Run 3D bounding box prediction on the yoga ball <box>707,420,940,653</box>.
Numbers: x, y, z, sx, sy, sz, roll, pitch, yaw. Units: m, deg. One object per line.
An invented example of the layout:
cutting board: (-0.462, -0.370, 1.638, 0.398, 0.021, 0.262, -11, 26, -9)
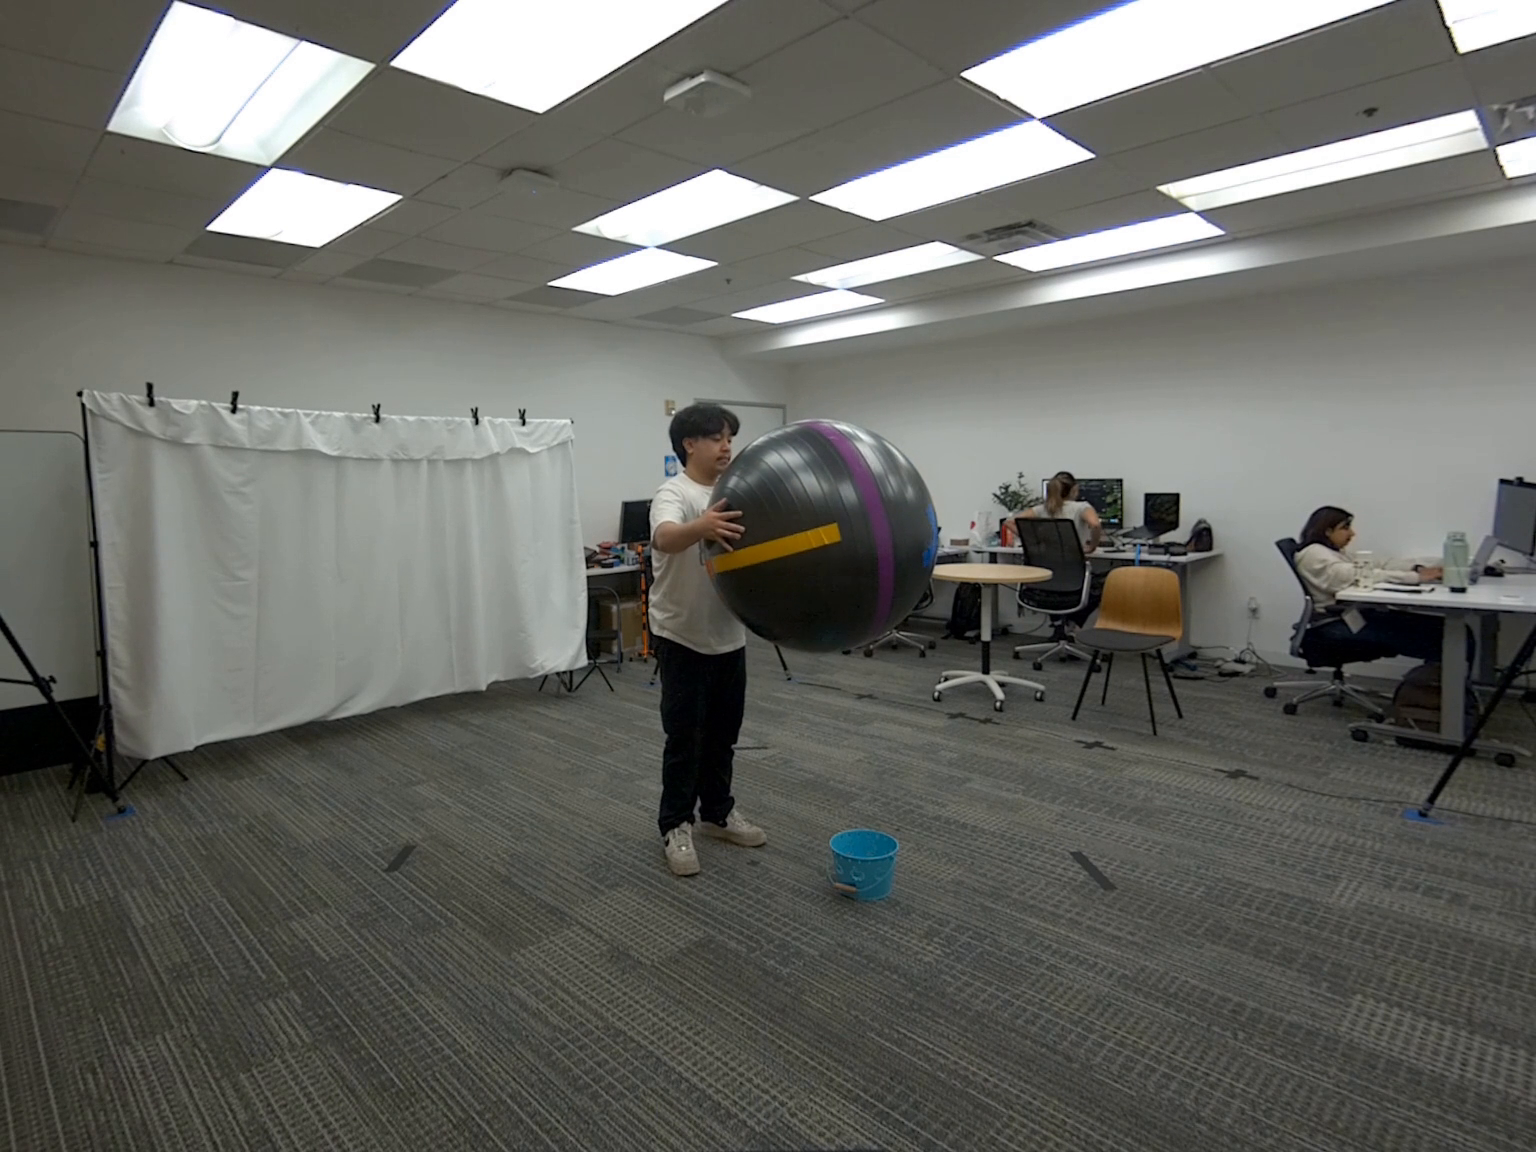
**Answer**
yoga ball: (0.170, -0.123, 2.783, 0.757, 0.755, 0.762, -1, 5, -2)
